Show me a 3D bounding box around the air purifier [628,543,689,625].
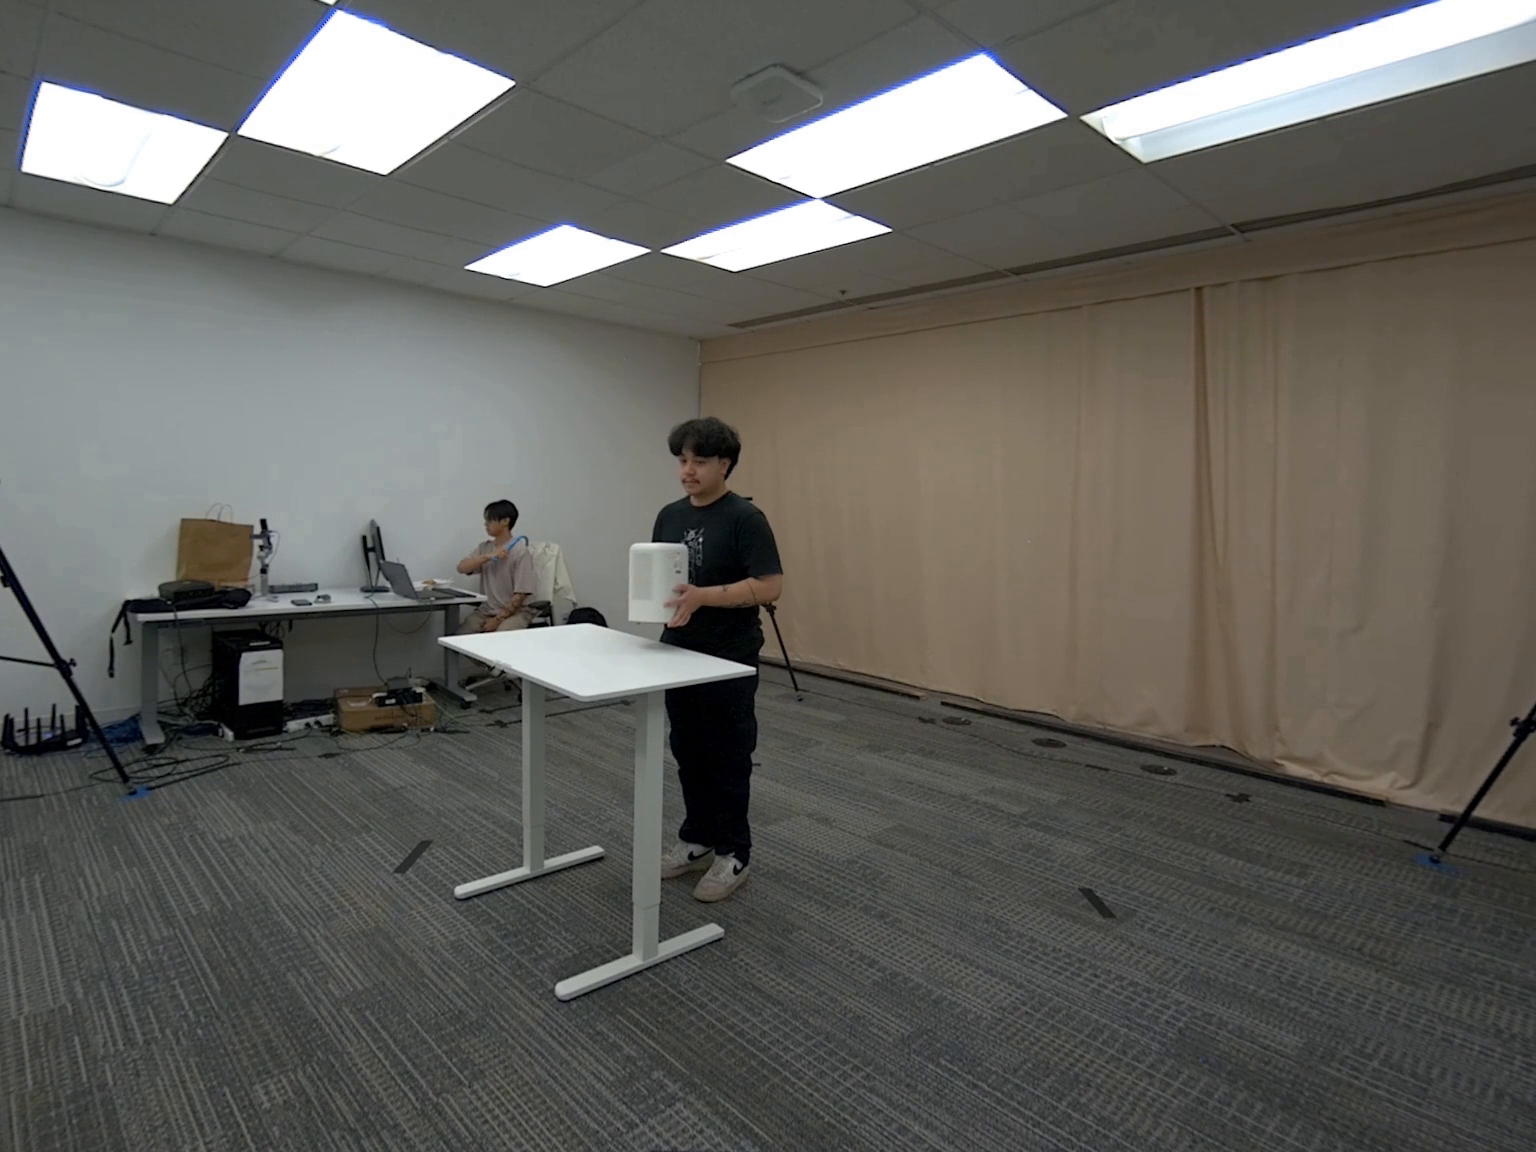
[{"bbox_3d":[-0.378,0.024,2.838,0.175,0.265,0.167,0,0,35],"label":"air purifier"}]
